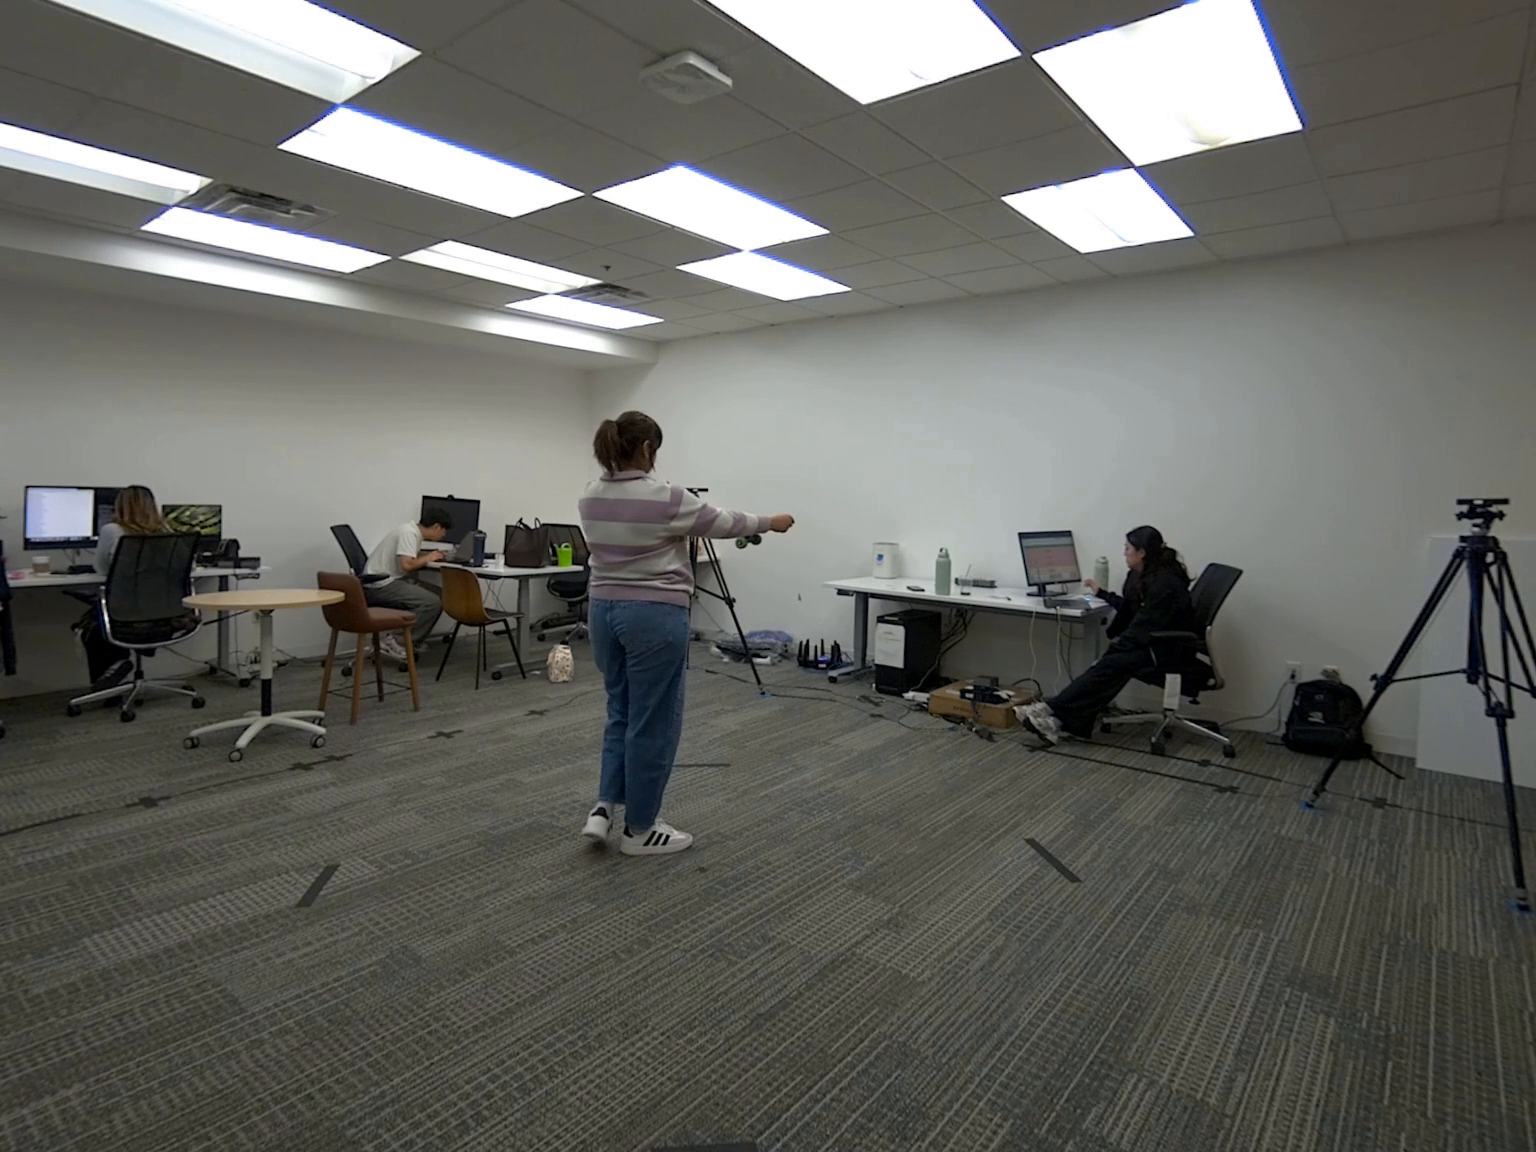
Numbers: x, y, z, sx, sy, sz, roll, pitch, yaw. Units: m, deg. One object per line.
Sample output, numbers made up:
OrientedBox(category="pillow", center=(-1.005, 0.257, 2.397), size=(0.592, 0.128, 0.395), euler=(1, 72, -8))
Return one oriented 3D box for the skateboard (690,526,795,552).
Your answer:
OrientedBox(category="skateboard", center=(-0.287, -0.179, 3.700), size=(0.807, 0.109, 0.189), euler=(1, 10, 30))
